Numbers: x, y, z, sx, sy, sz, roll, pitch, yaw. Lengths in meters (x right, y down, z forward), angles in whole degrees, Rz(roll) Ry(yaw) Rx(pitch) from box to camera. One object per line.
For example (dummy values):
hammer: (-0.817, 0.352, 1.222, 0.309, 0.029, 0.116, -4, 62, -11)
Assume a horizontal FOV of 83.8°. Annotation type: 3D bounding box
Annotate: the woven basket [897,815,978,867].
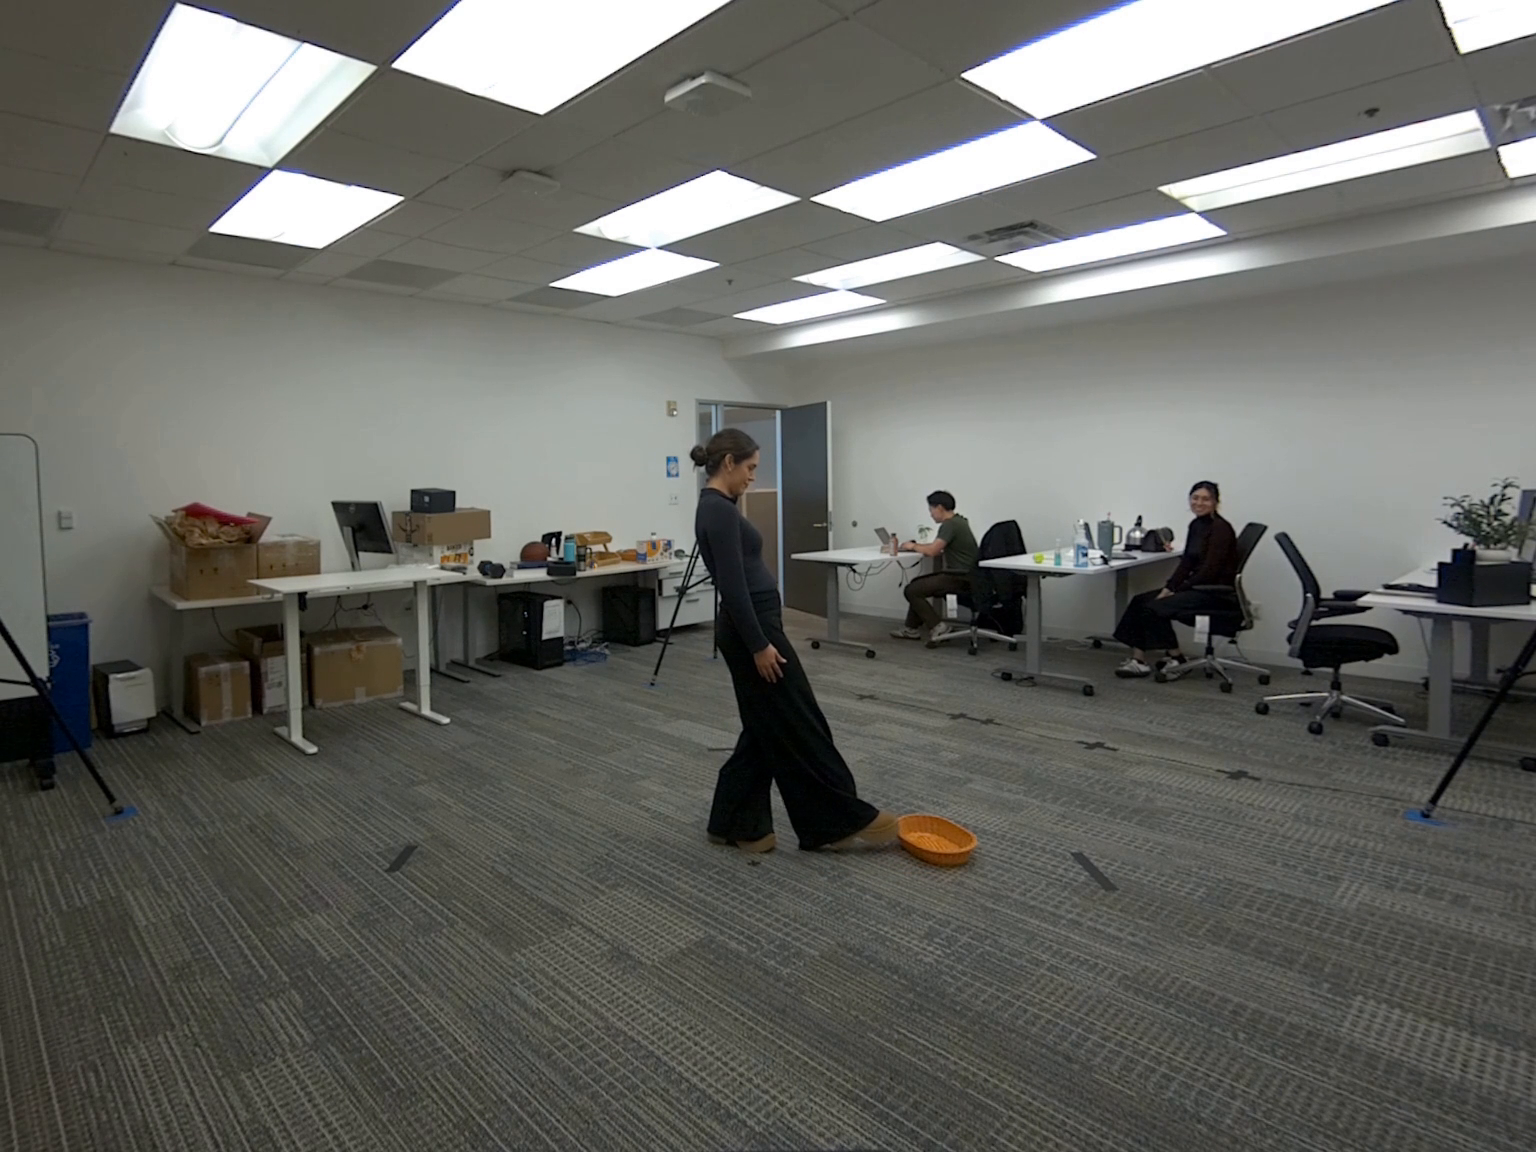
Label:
woven basket: (0.613, 0.982, 3.180, 0.247, 0.073, 0.359, -5, 7, -25)
